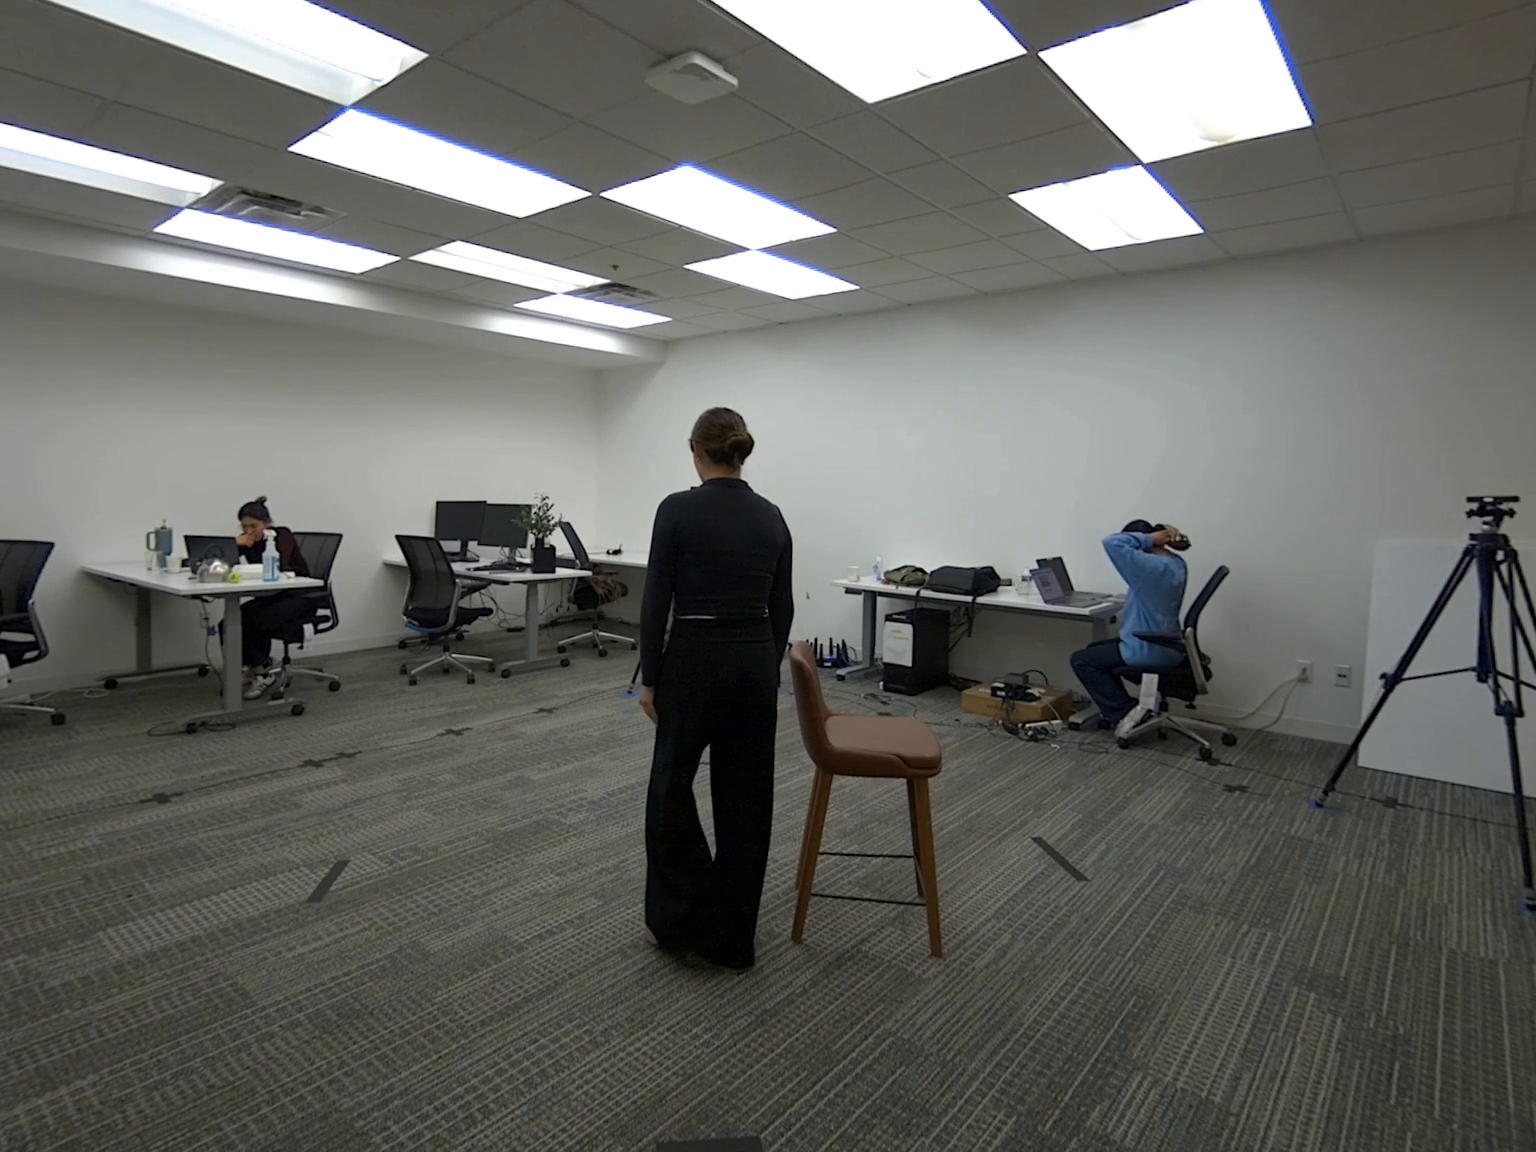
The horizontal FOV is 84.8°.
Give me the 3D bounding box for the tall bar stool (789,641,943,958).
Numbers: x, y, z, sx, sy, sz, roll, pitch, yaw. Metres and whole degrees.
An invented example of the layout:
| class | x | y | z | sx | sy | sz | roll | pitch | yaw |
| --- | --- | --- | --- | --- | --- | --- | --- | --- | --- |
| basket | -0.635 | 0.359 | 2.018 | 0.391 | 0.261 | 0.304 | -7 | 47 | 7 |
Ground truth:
| class | x | y | z | sx | sy | sz | roll | pitch | yaw |
| --- | --- | --- | --- | --- | --- | --- | --- | --- | --- |
| tall bar stool | 0.303 | 0.677 | 2.745 | 0.472 | 0.888 | 0.453 | 0 | 3 | 8 |
